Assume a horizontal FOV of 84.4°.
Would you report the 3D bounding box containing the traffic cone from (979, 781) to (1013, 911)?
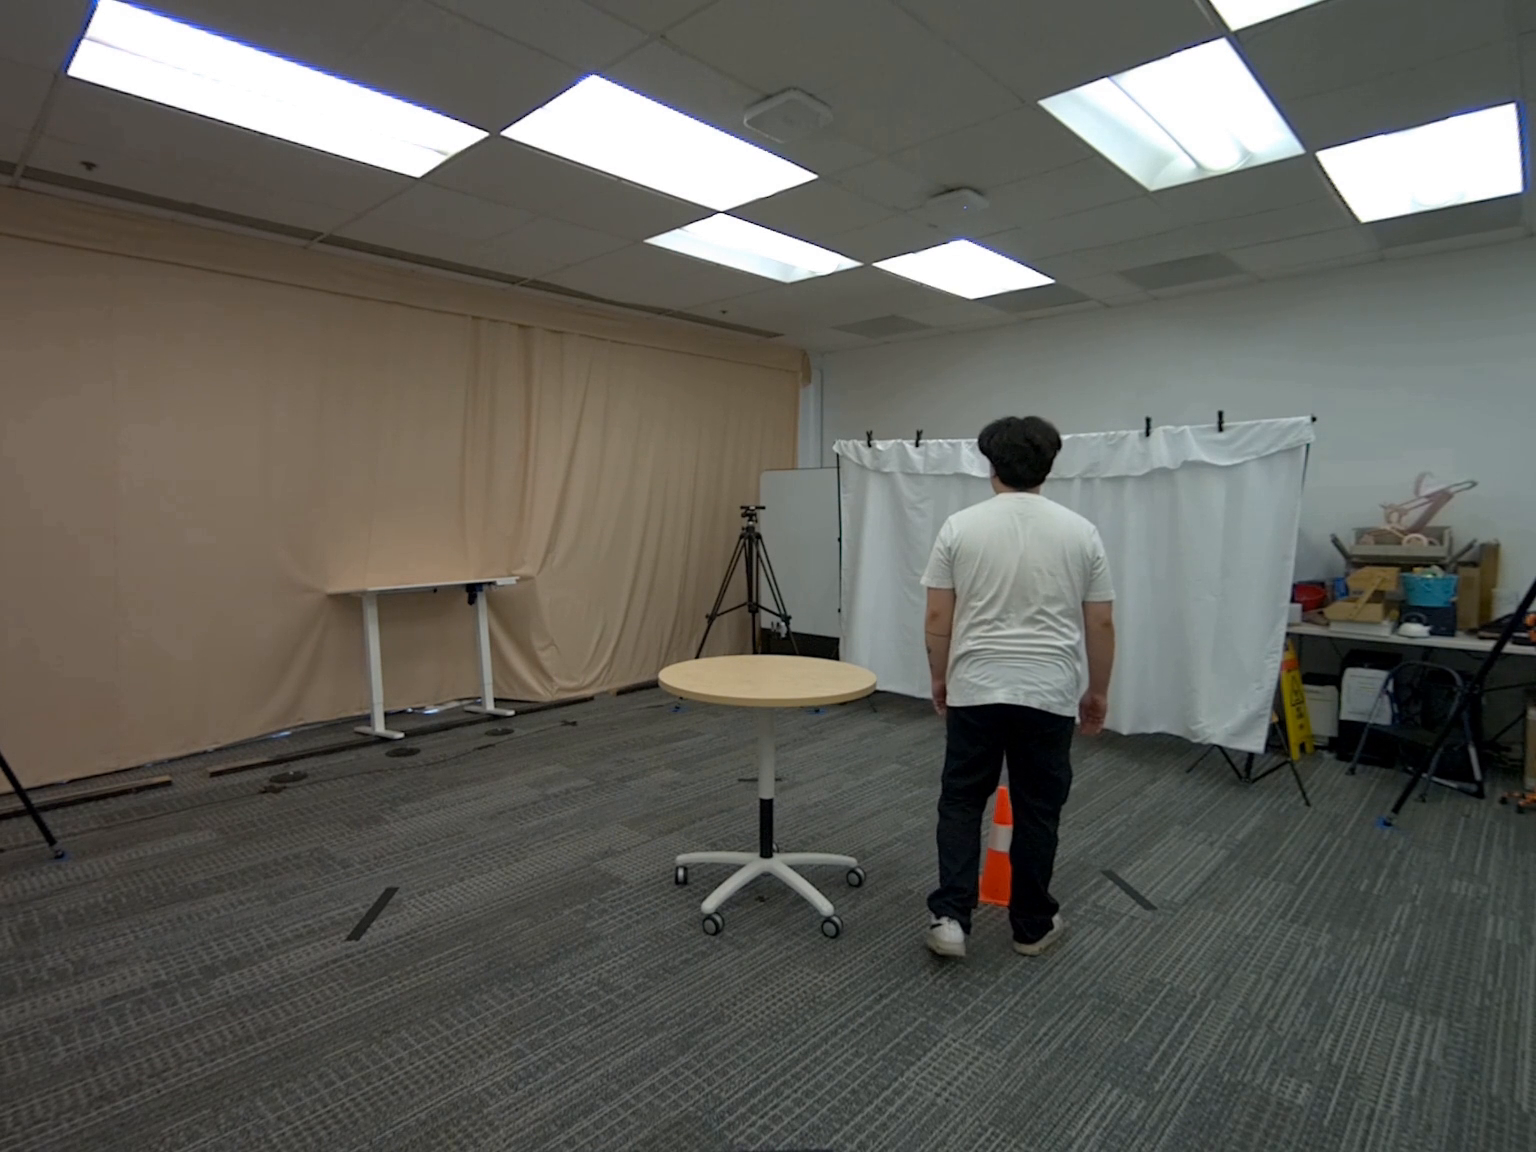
[{"bbox_3d":[0.857,0.953,3.017,0.209,0.383,0.199,0,1,31],"label":"traffic cone"}]
